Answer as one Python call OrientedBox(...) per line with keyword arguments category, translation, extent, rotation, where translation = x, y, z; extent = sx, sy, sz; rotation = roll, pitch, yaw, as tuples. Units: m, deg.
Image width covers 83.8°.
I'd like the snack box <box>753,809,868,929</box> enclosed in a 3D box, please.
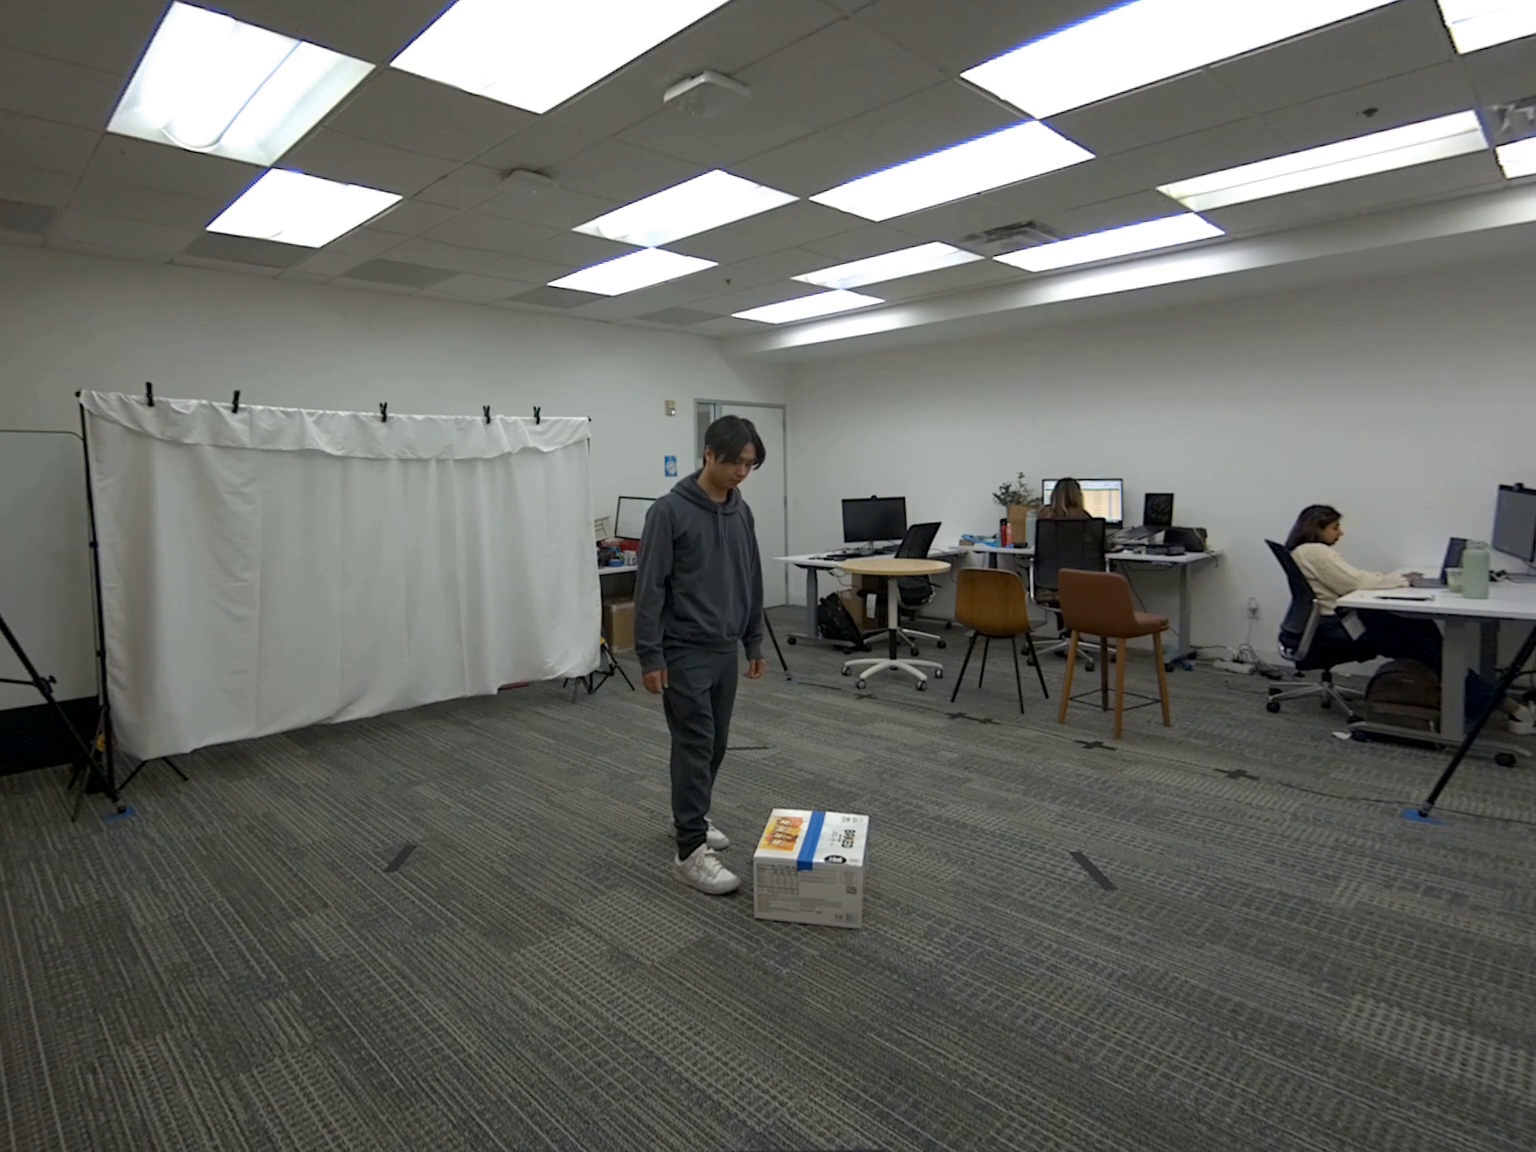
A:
OrientedBox(category="snack box", translation=(0.159, 0.964, 2.855), extent=(0.344, 0.205, 0.402), rotation=(0, 6, 11))
